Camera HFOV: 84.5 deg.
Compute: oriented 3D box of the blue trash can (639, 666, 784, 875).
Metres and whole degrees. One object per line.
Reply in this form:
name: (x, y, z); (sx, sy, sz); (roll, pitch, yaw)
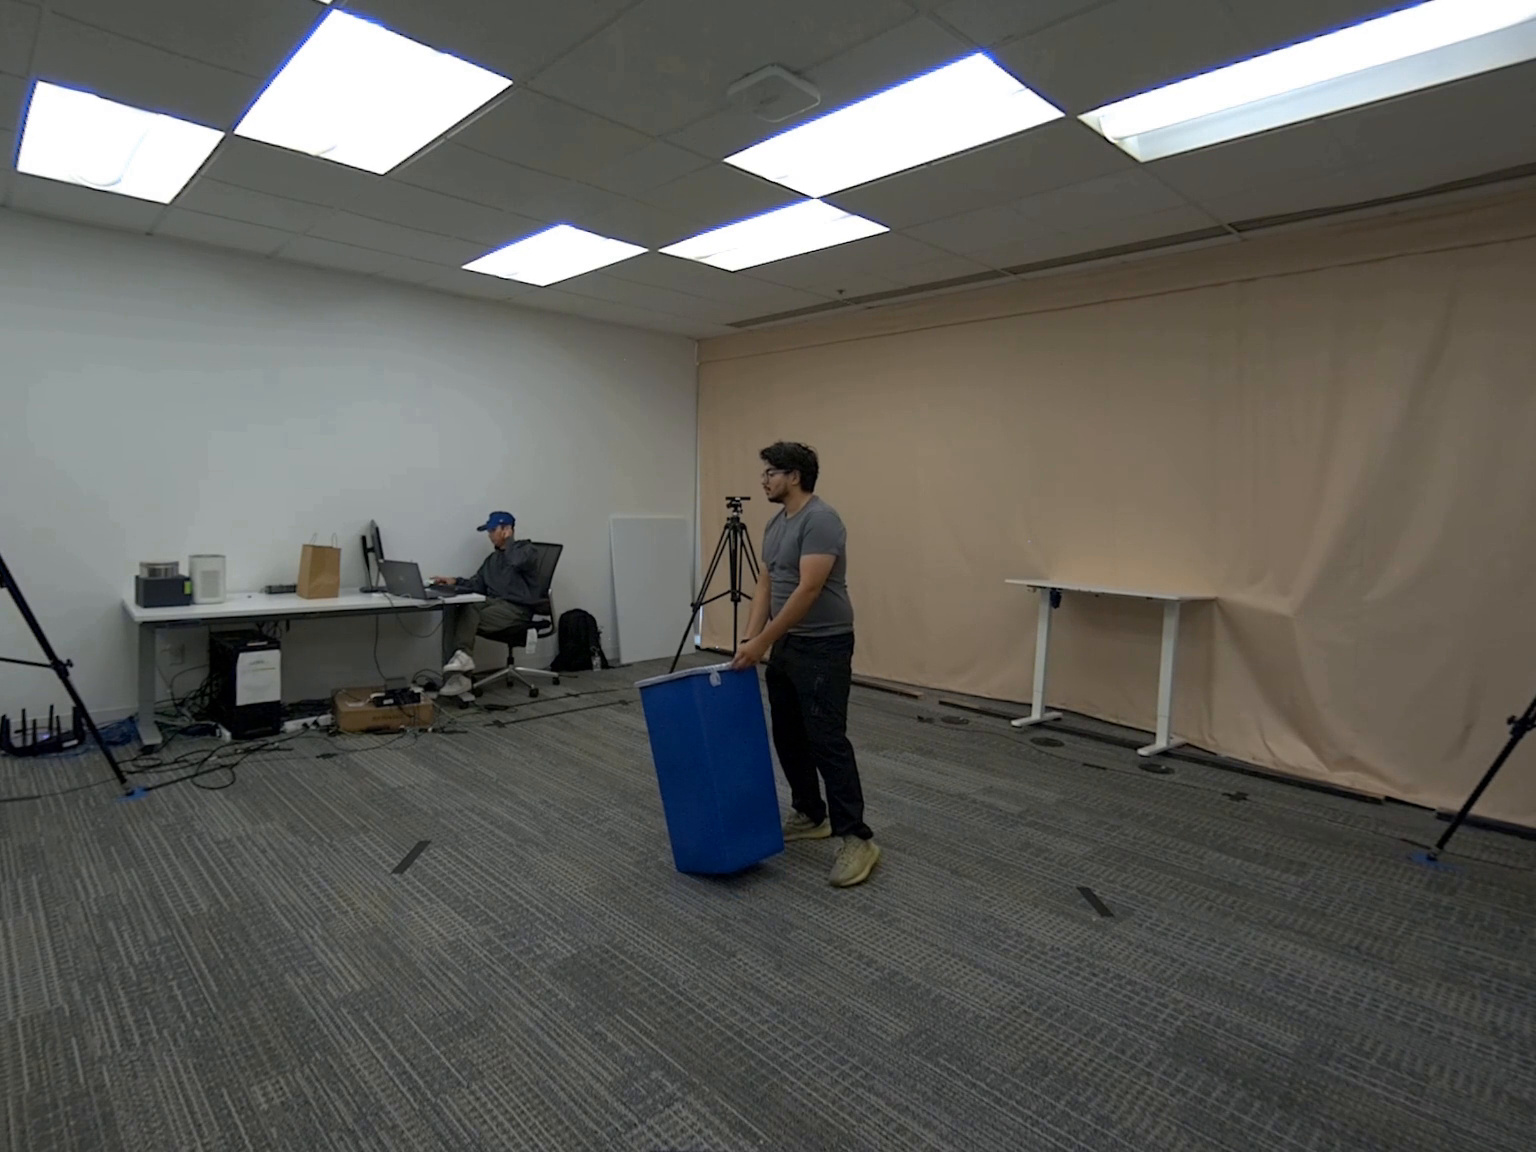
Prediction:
blue trash can: (-0.218, 0.715, 3.186); (0.383, 0.720, 0.365); (-20, -14, 42)
